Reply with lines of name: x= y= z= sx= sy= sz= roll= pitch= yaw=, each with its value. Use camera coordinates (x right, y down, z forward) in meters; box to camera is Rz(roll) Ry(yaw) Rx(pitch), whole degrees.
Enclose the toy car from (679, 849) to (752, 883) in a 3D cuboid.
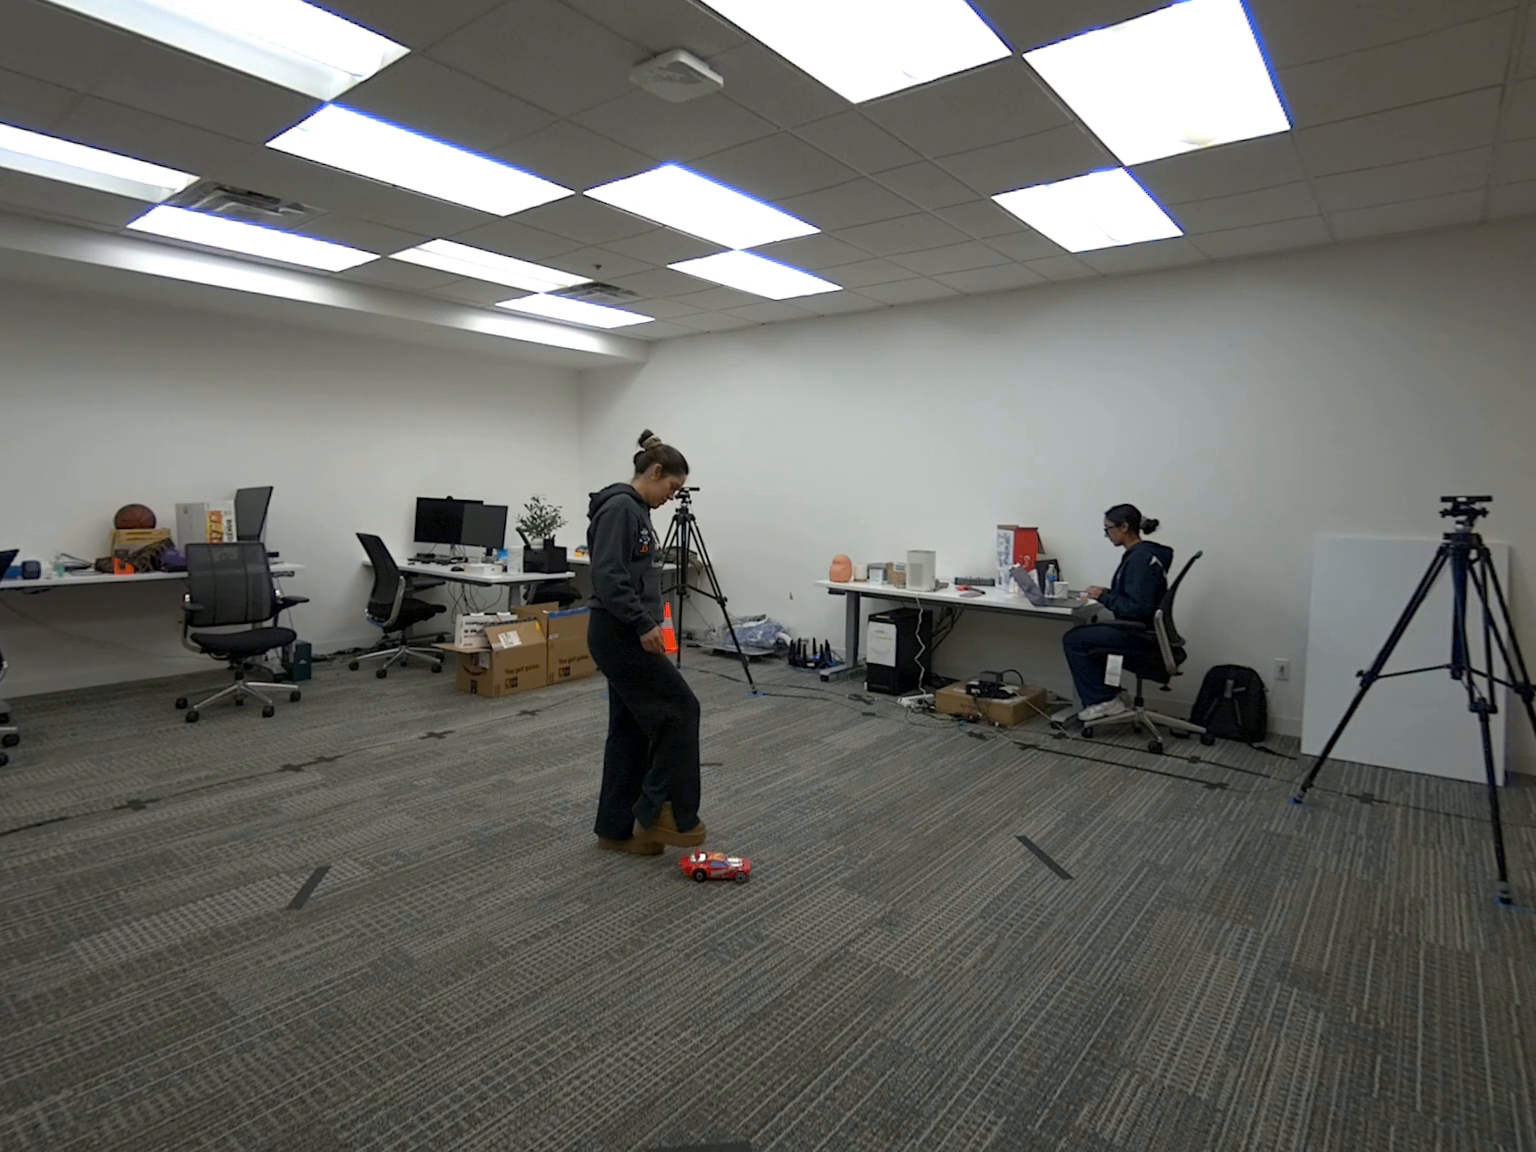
toy car: x=-0.195 y=1.041 z=3.050 sx=0.254 sy=0.083 sz=0.131 roll=12 pitch=4 yaw=-3
